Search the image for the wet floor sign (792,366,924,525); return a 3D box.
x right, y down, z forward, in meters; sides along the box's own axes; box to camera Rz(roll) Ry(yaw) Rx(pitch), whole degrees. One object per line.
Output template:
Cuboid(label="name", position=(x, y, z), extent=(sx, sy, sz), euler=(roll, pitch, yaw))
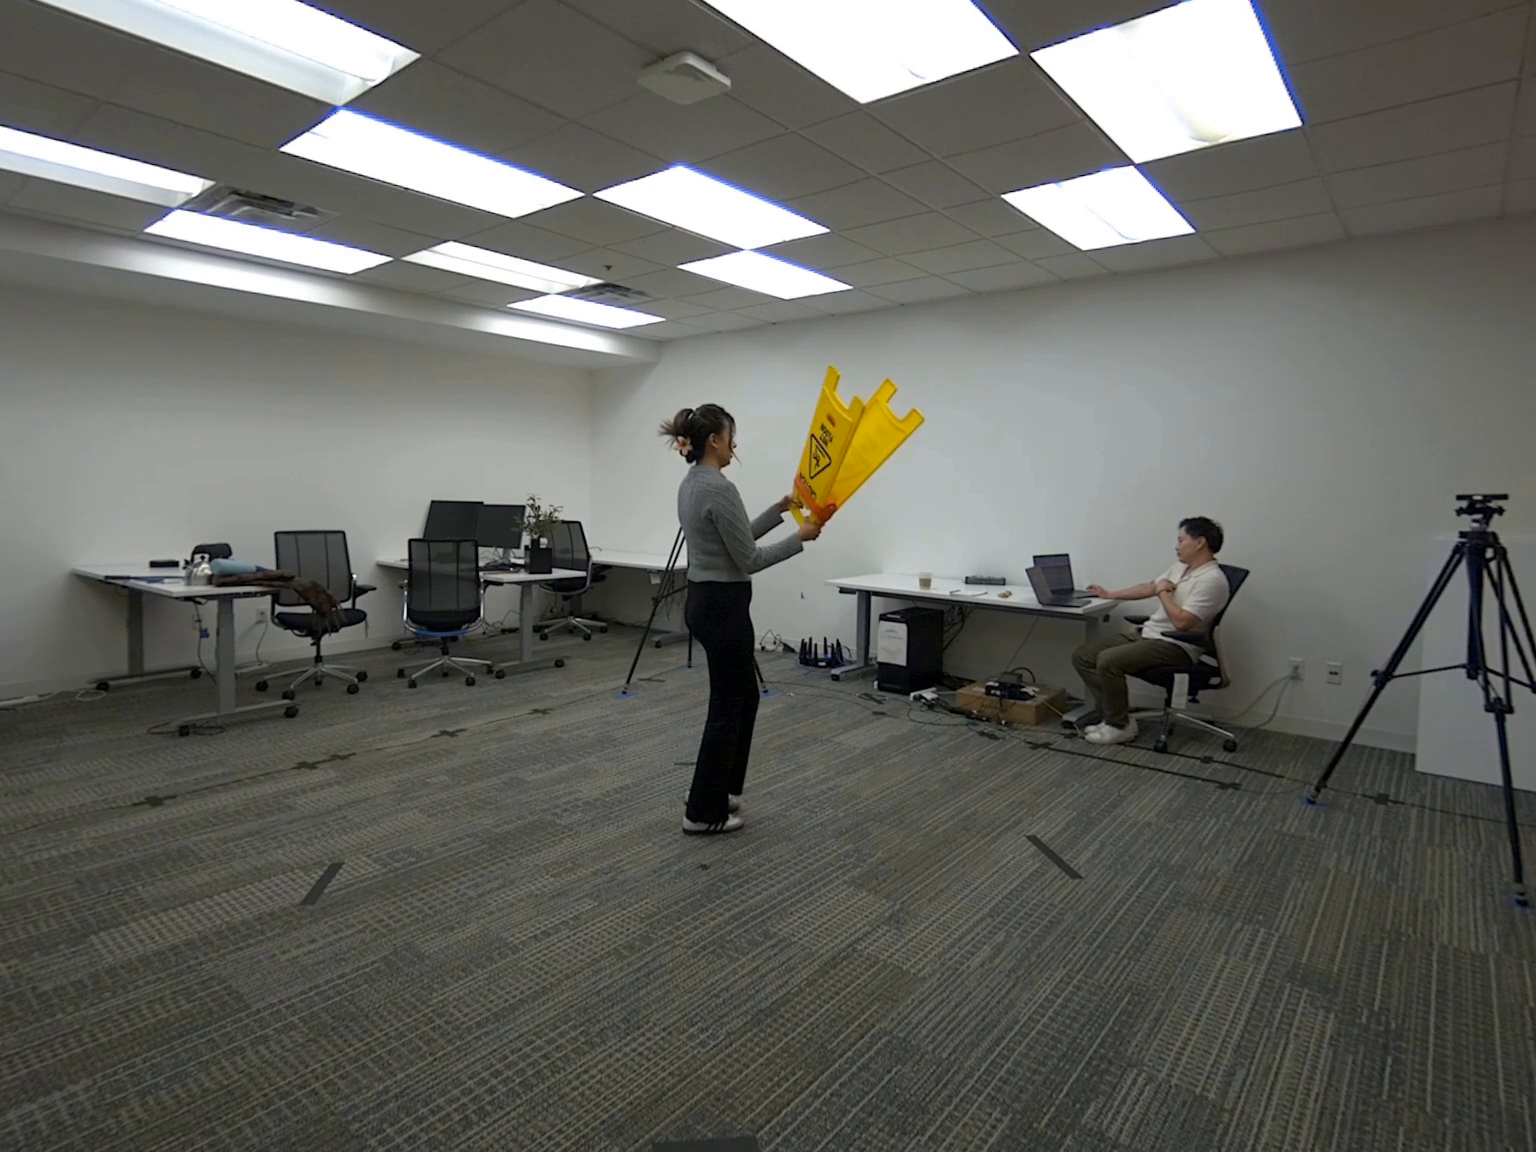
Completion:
Cuboid(label="wet floor sign", position=(0.259, -0.461, 3.329), extent=(0.281, 0.640, 0.293), euler=(5, 41, -34))
